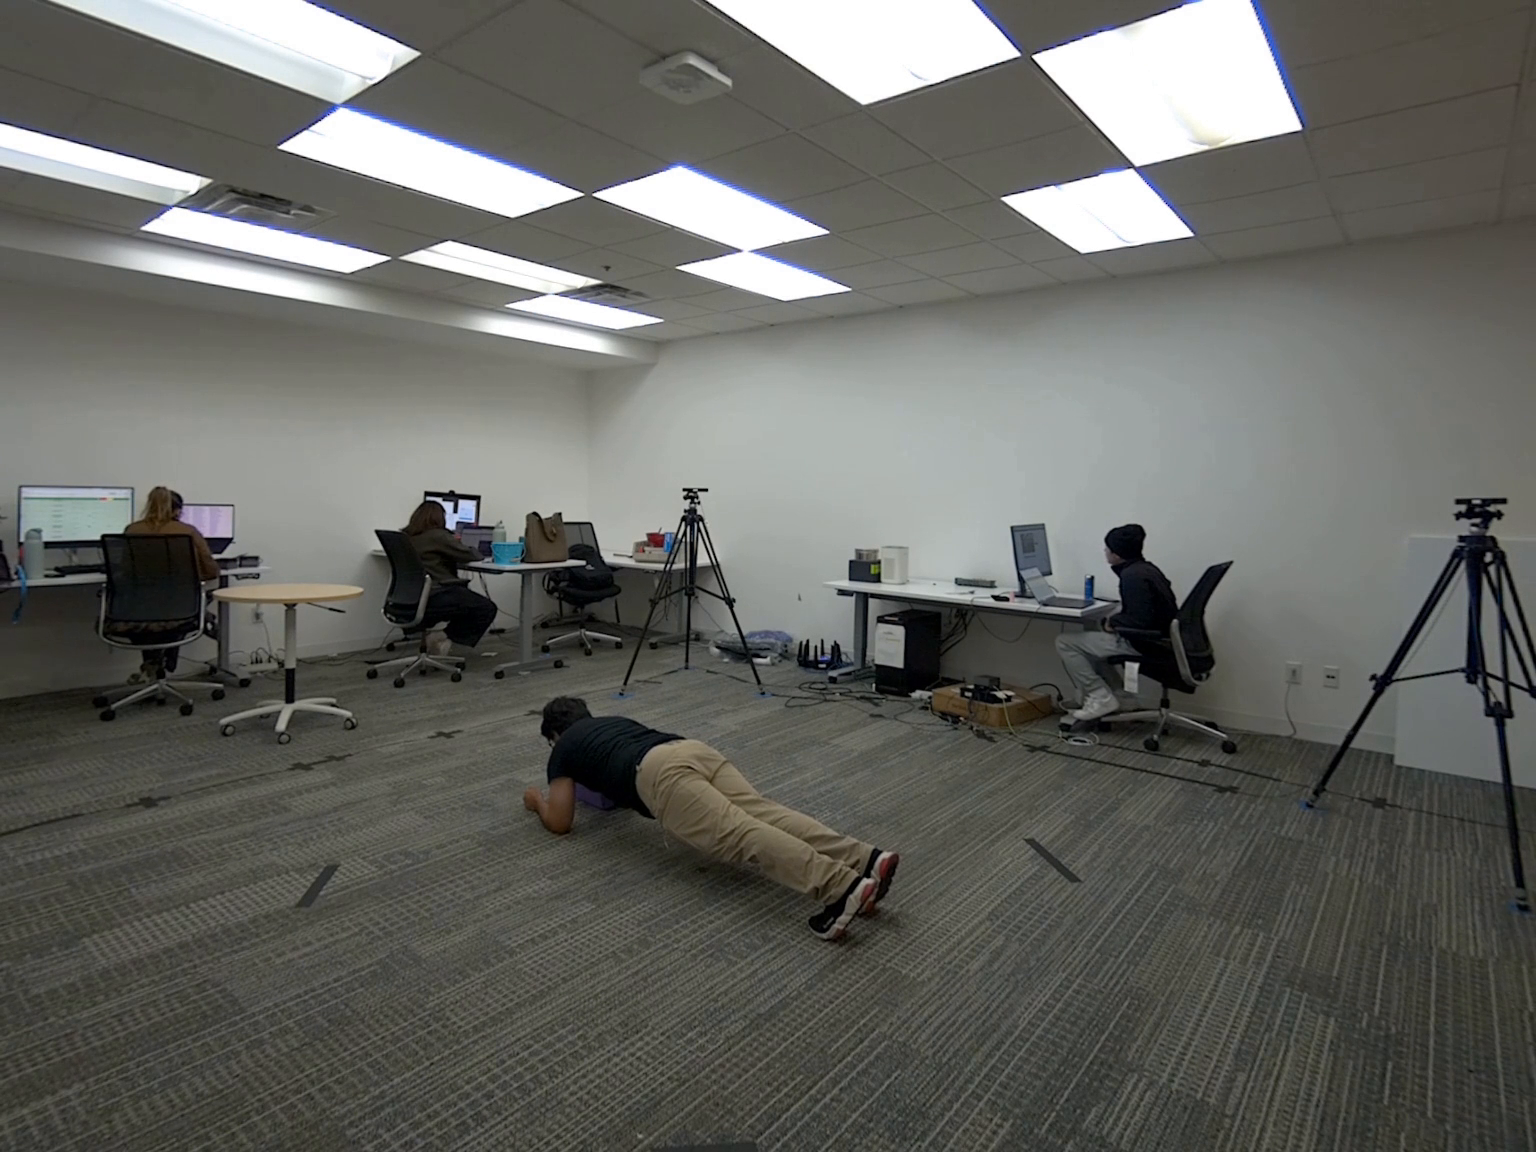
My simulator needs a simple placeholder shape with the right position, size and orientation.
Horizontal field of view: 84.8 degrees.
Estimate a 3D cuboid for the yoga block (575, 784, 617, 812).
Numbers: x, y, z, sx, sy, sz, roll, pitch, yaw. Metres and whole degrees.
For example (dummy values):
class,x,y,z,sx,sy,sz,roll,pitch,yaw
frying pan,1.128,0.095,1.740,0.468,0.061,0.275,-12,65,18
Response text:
class,x,y,z,sx,sy,sz,roll,pitch,yaw
yoga block,-0.778,0.920,3.760,0.074,0.148,0.237,-12,10,-44
